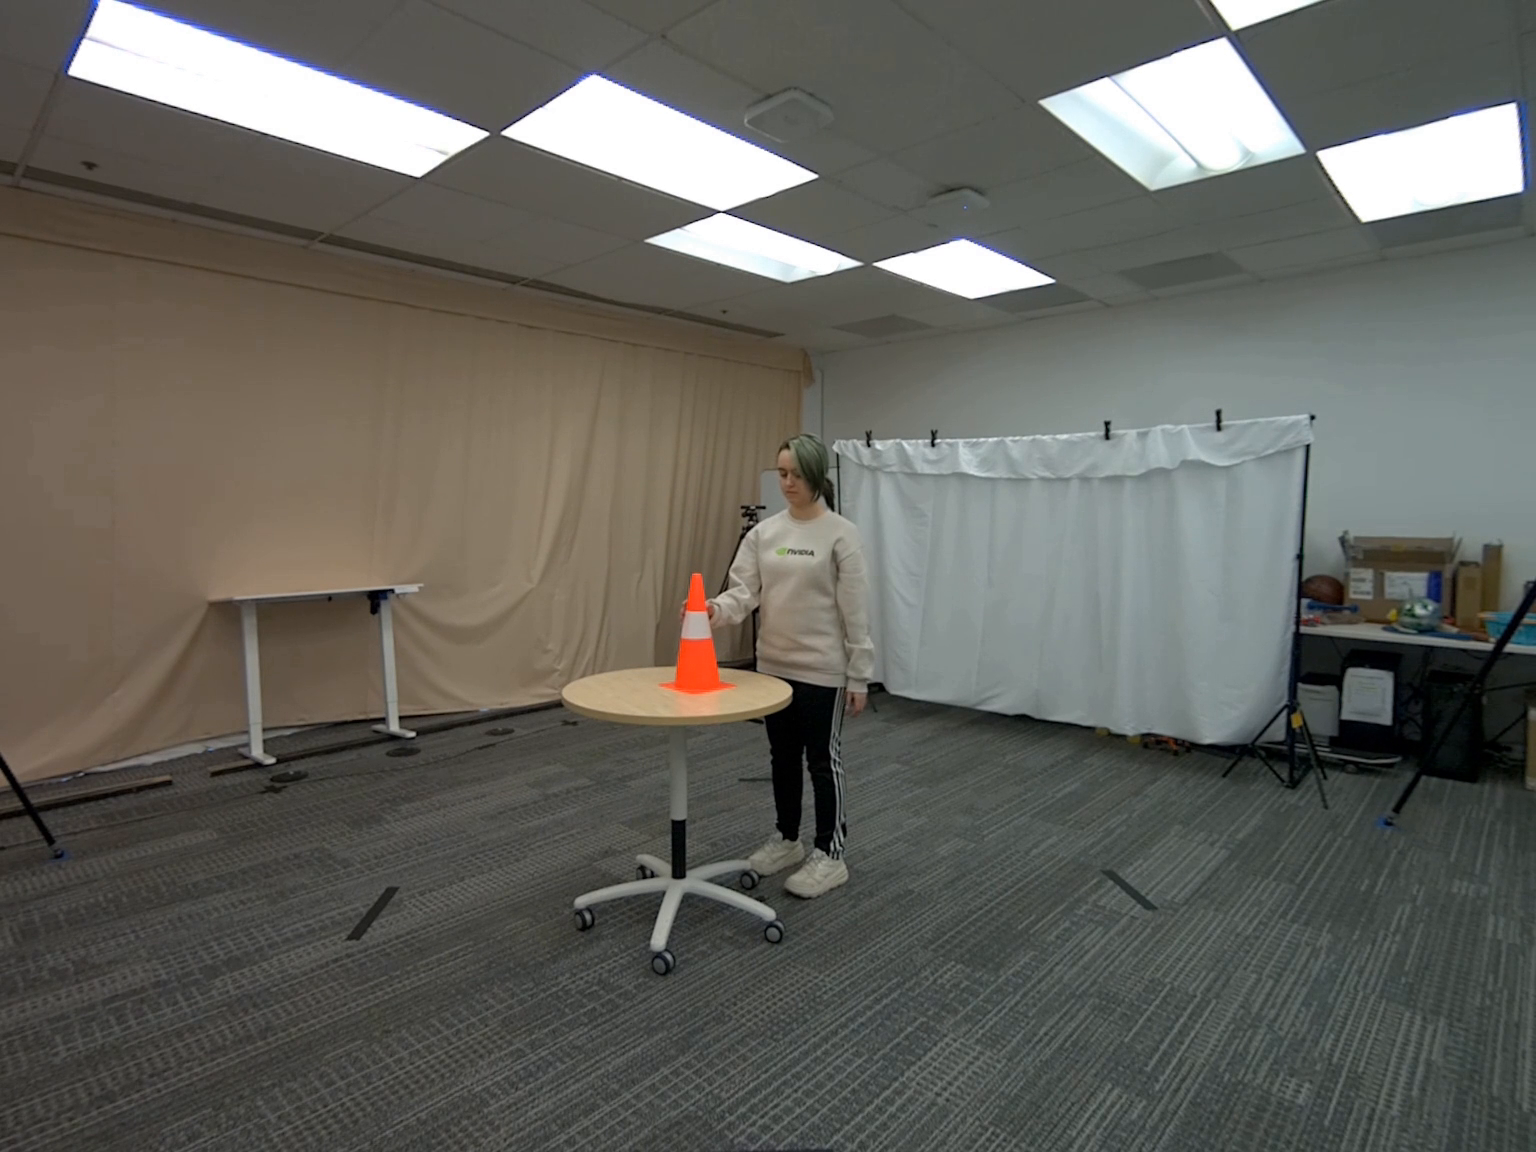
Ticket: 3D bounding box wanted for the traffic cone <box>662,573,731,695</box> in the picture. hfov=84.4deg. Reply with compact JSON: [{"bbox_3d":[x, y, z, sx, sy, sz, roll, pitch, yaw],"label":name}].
[{"bbox_3d":[-0.240,0.183,2.851,0.211,0.383,0.197,0,3,35],"label":"traffic cone"}]
